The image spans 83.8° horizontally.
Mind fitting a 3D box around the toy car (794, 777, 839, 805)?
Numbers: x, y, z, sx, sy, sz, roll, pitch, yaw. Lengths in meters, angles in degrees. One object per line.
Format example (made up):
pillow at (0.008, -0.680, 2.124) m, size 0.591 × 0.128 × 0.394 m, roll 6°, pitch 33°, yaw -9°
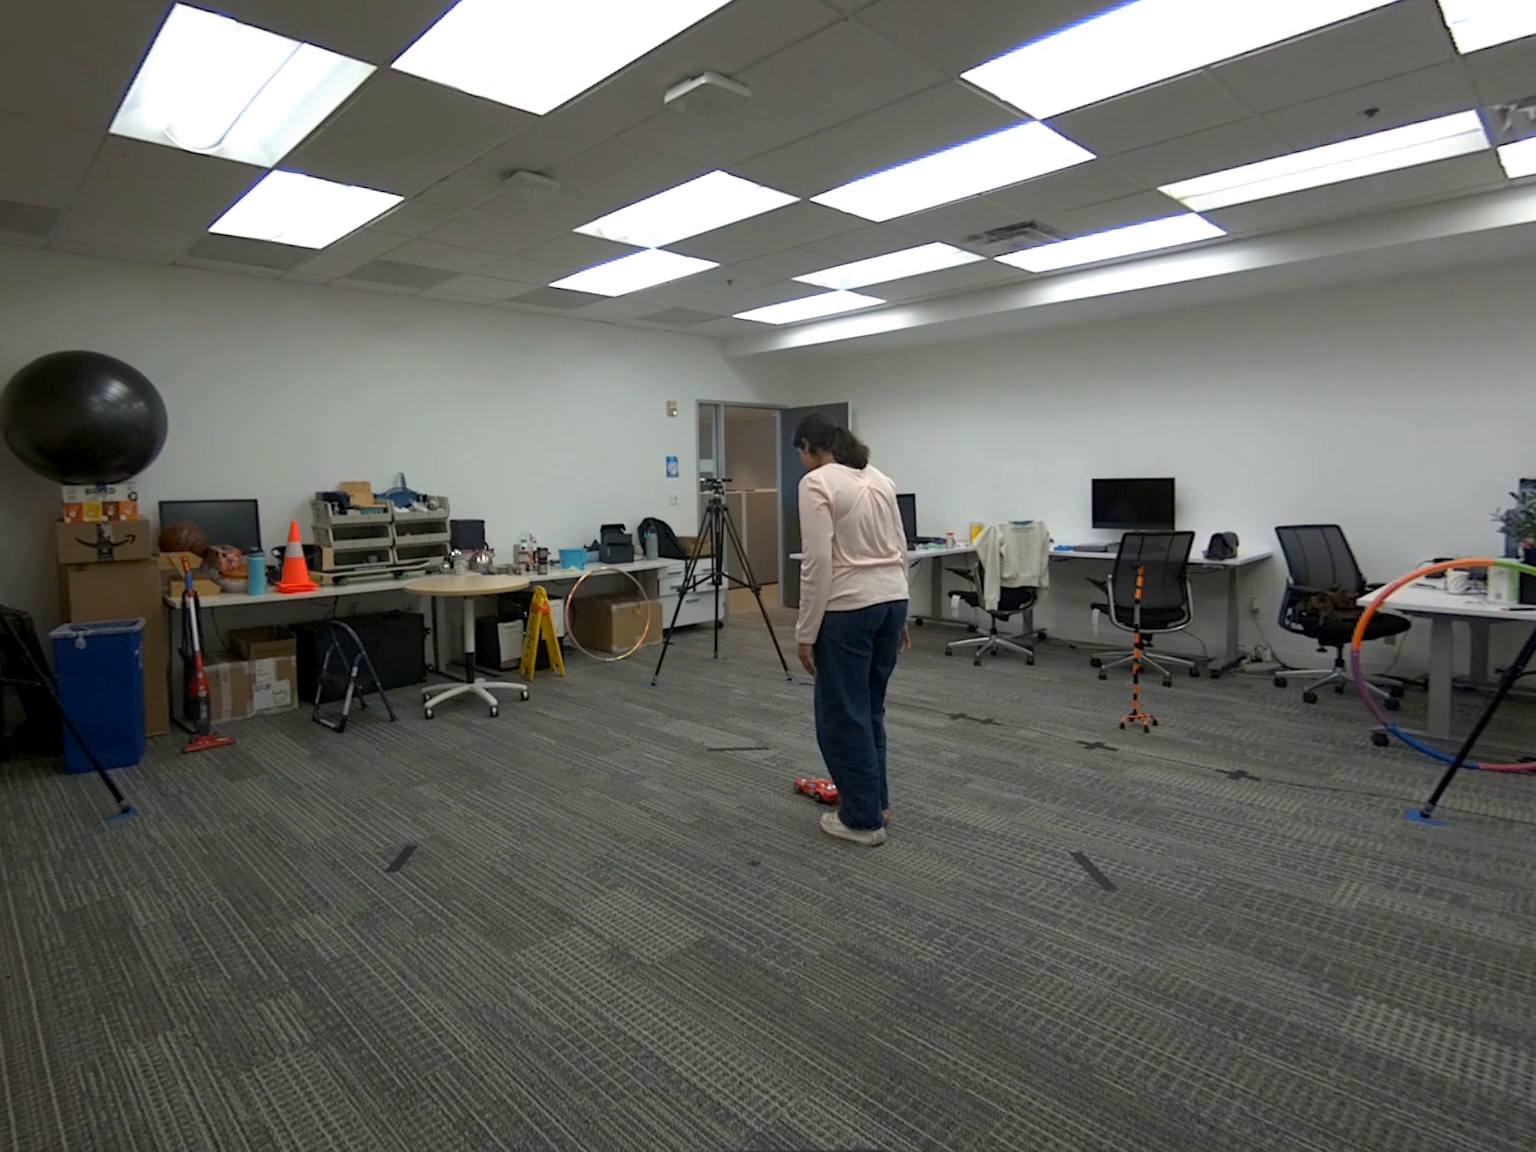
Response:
toy car at (0.227, 0.935, 3.742) m, size 0.127 × 0.083 × 0.260 m, roll -3°, pitch -5°, yaw -35°
